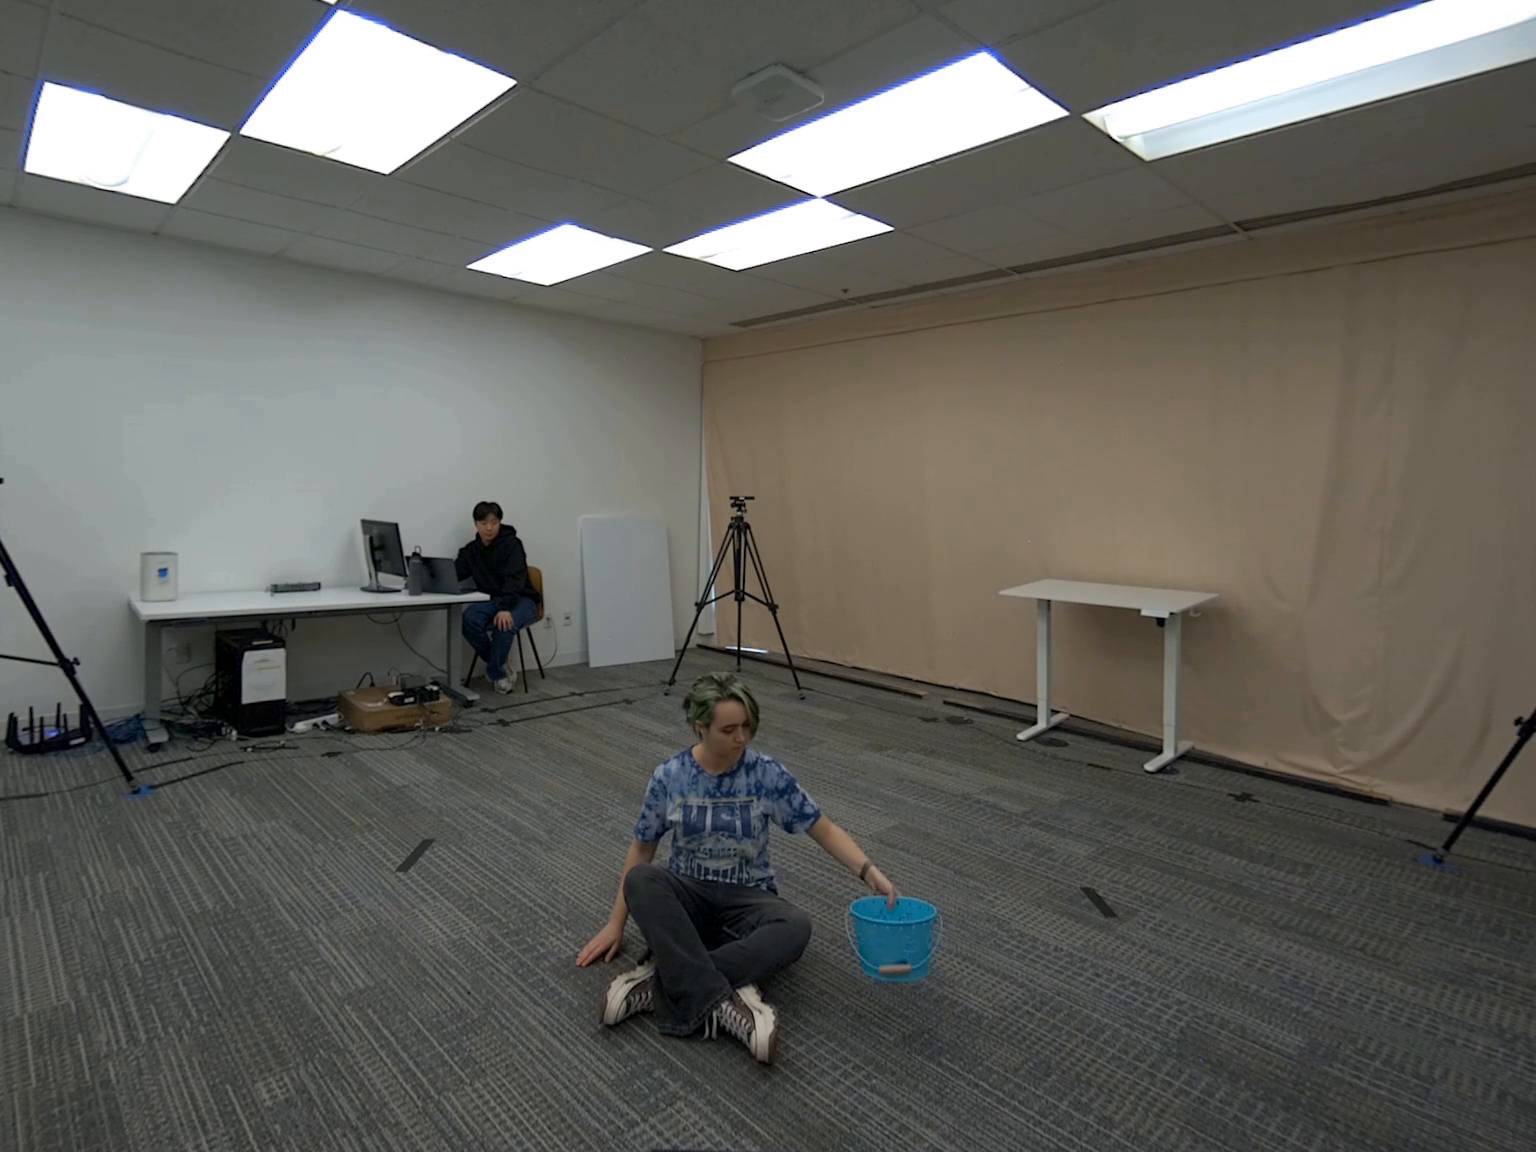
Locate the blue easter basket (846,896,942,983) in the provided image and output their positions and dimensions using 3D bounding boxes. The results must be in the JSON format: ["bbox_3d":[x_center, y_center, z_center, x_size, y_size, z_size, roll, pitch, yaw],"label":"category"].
[{"bbox_3d":[0.321,0.970,2.227,0.243,0.156,0.242,0,-5,-1],"label":"blue easter basket"}]
